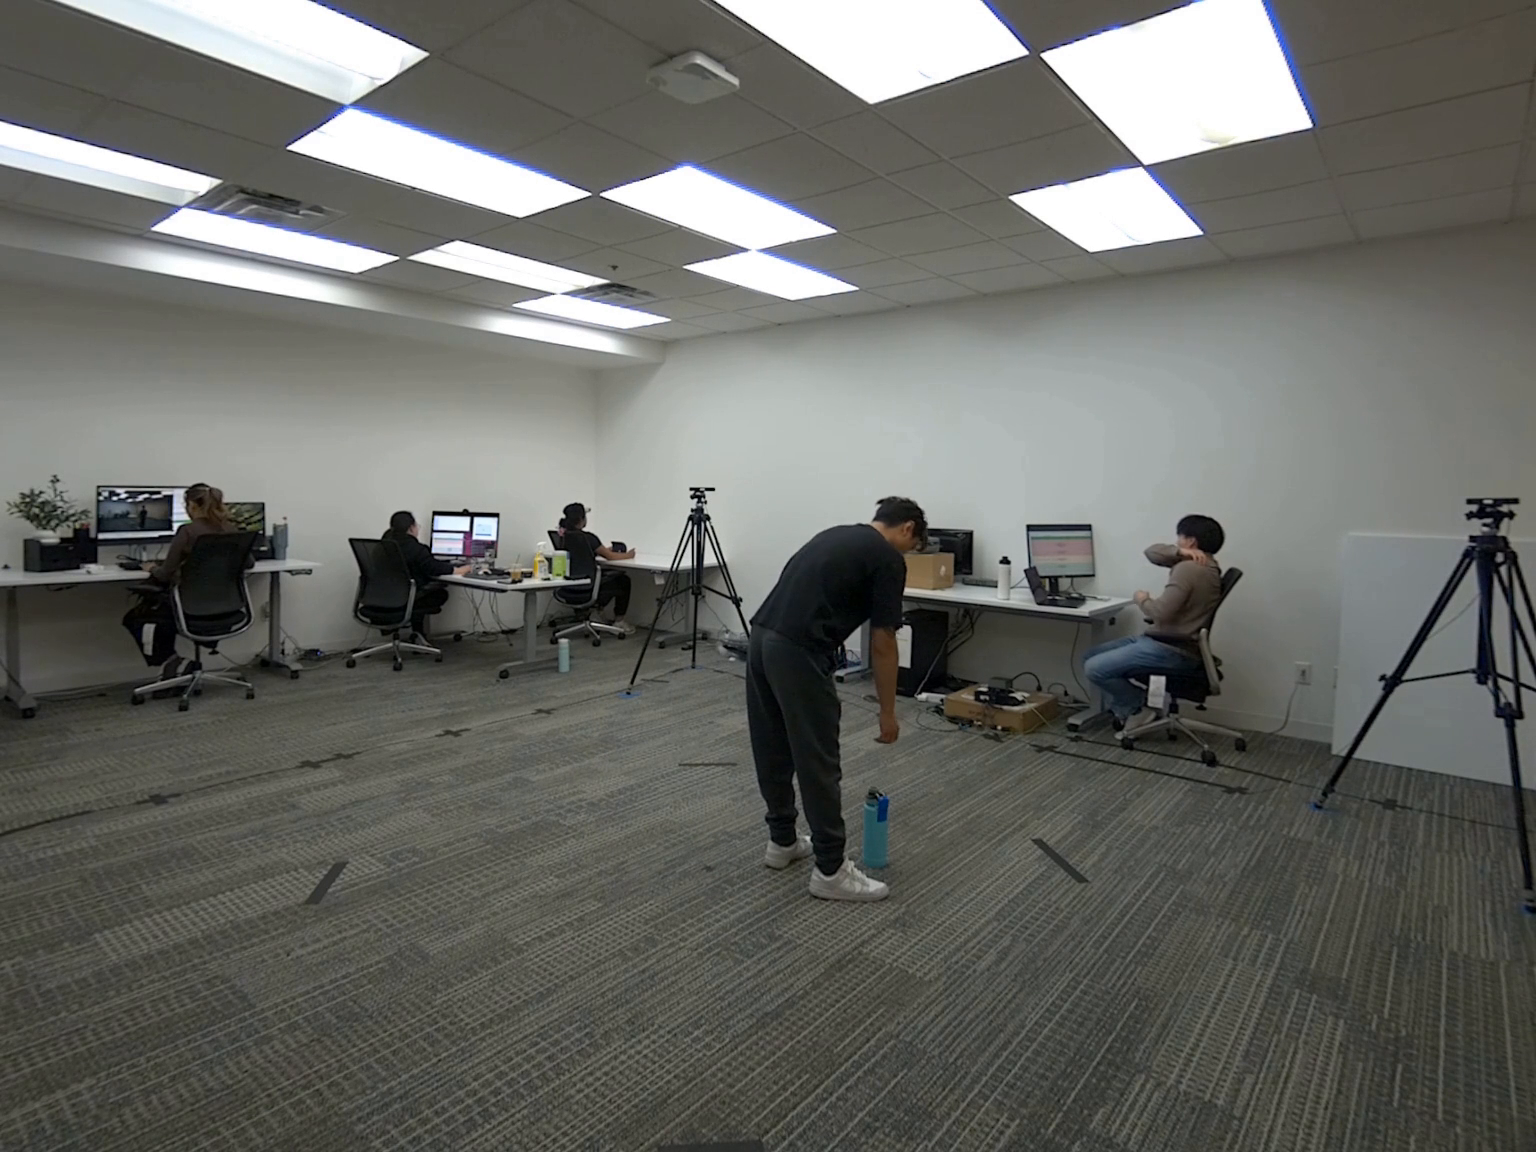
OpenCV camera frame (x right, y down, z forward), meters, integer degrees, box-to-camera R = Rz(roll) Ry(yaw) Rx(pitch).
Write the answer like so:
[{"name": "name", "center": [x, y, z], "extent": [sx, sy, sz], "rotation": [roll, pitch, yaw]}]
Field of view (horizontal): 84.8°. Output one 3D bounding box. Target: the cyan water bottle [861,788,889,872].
[{"name": "cyan water bottle", "center": [0.397, 0.936, 3.177], "extent": [0.092, 0.282, 0.093], "rotation": [1, 4, -2]}]
